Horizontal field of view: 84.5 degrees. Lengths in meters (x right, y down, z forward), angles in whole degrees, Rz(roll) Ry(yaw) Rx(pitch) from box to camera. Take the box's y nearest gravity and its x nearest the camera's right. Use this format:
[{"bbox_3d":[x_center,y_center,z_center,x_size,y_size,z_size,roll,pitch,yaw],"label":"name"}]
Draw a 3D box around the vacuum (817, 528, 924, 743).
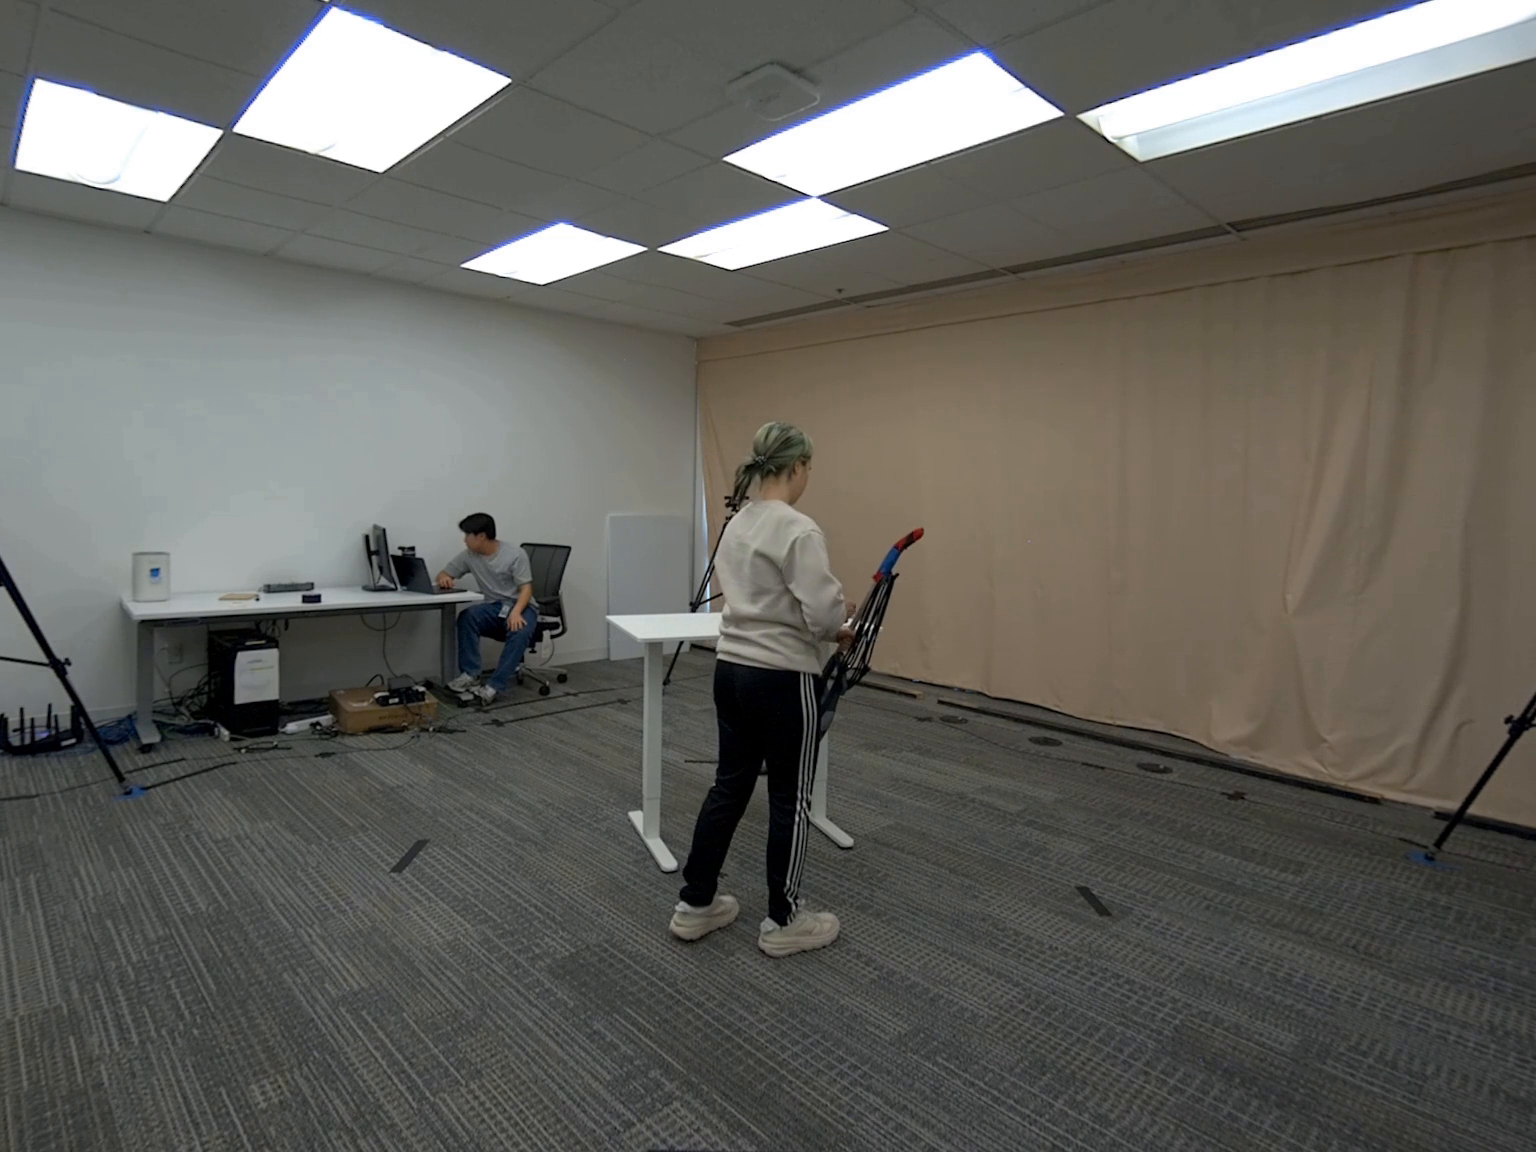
[{"bbox_3d":[0.244,0.291,2.762,0.246,1.041,0.148,9,30,-33],"label":"vacuum"}]
